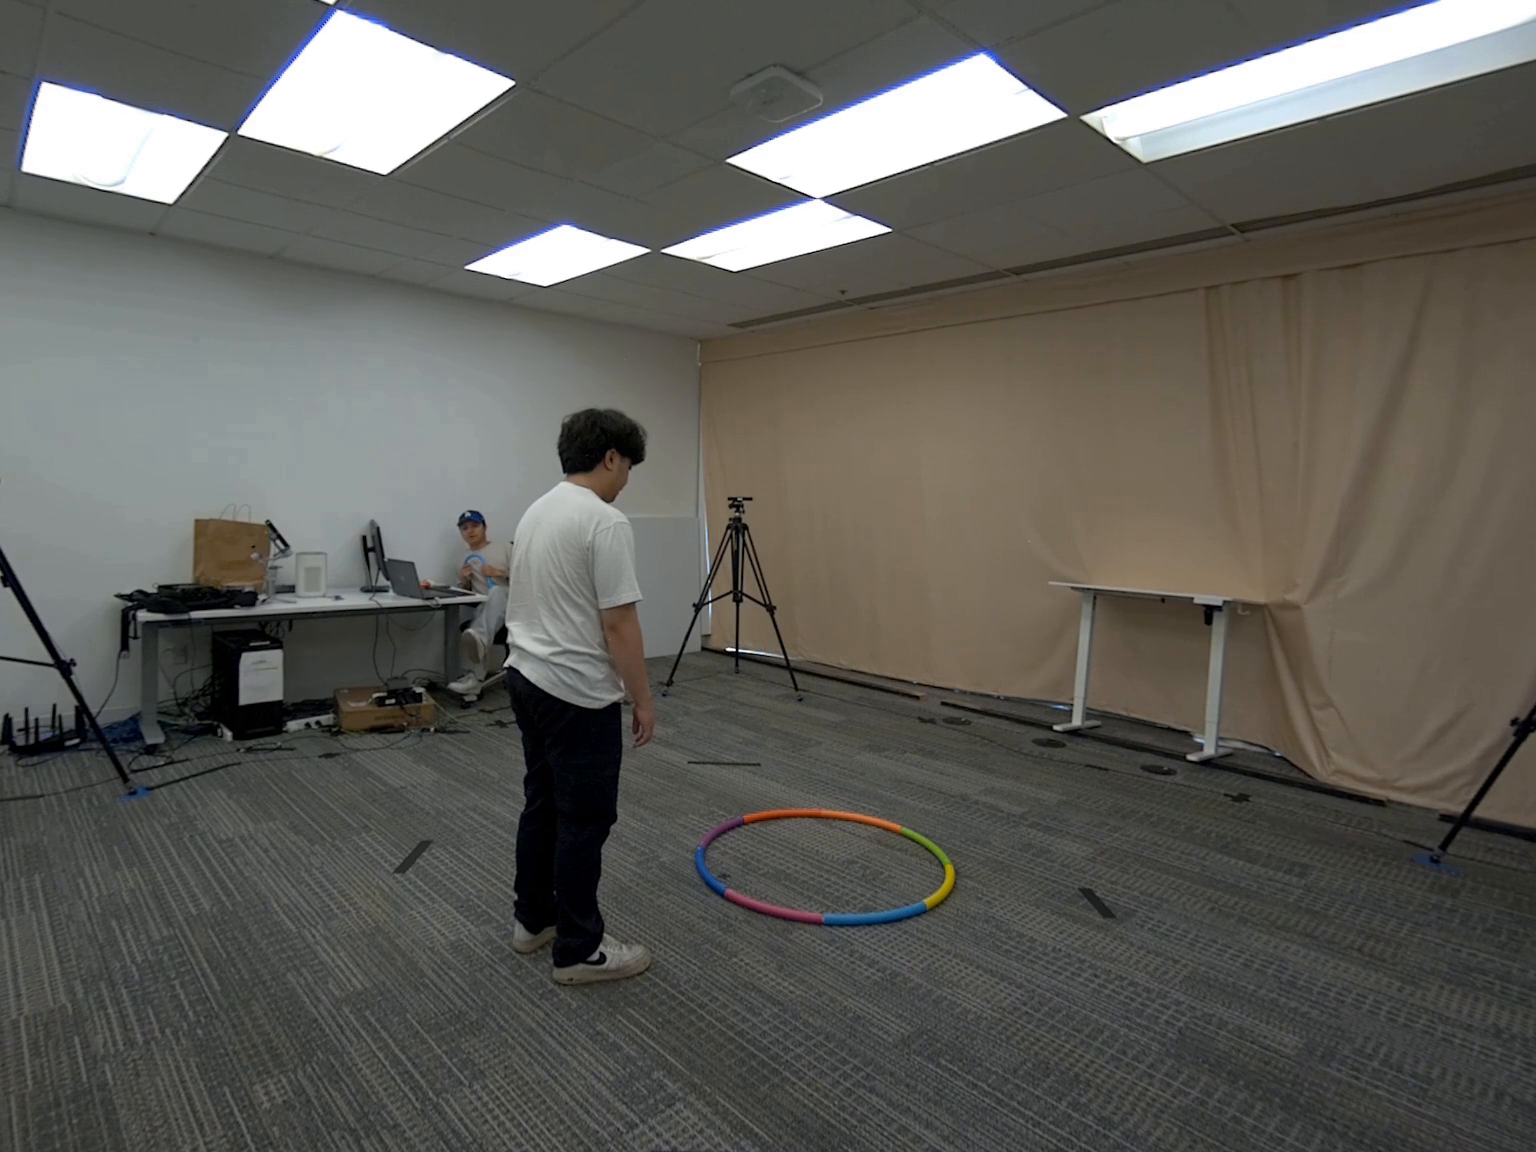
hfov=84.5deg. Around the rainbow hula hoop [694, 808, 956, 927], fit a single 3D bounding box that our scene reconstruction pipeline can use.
[{"bbox_3d":[0.204,1.077,3.242,0.985,0.051,0.989,1,6,-1],"label":"rainbow hula hoop"}]
